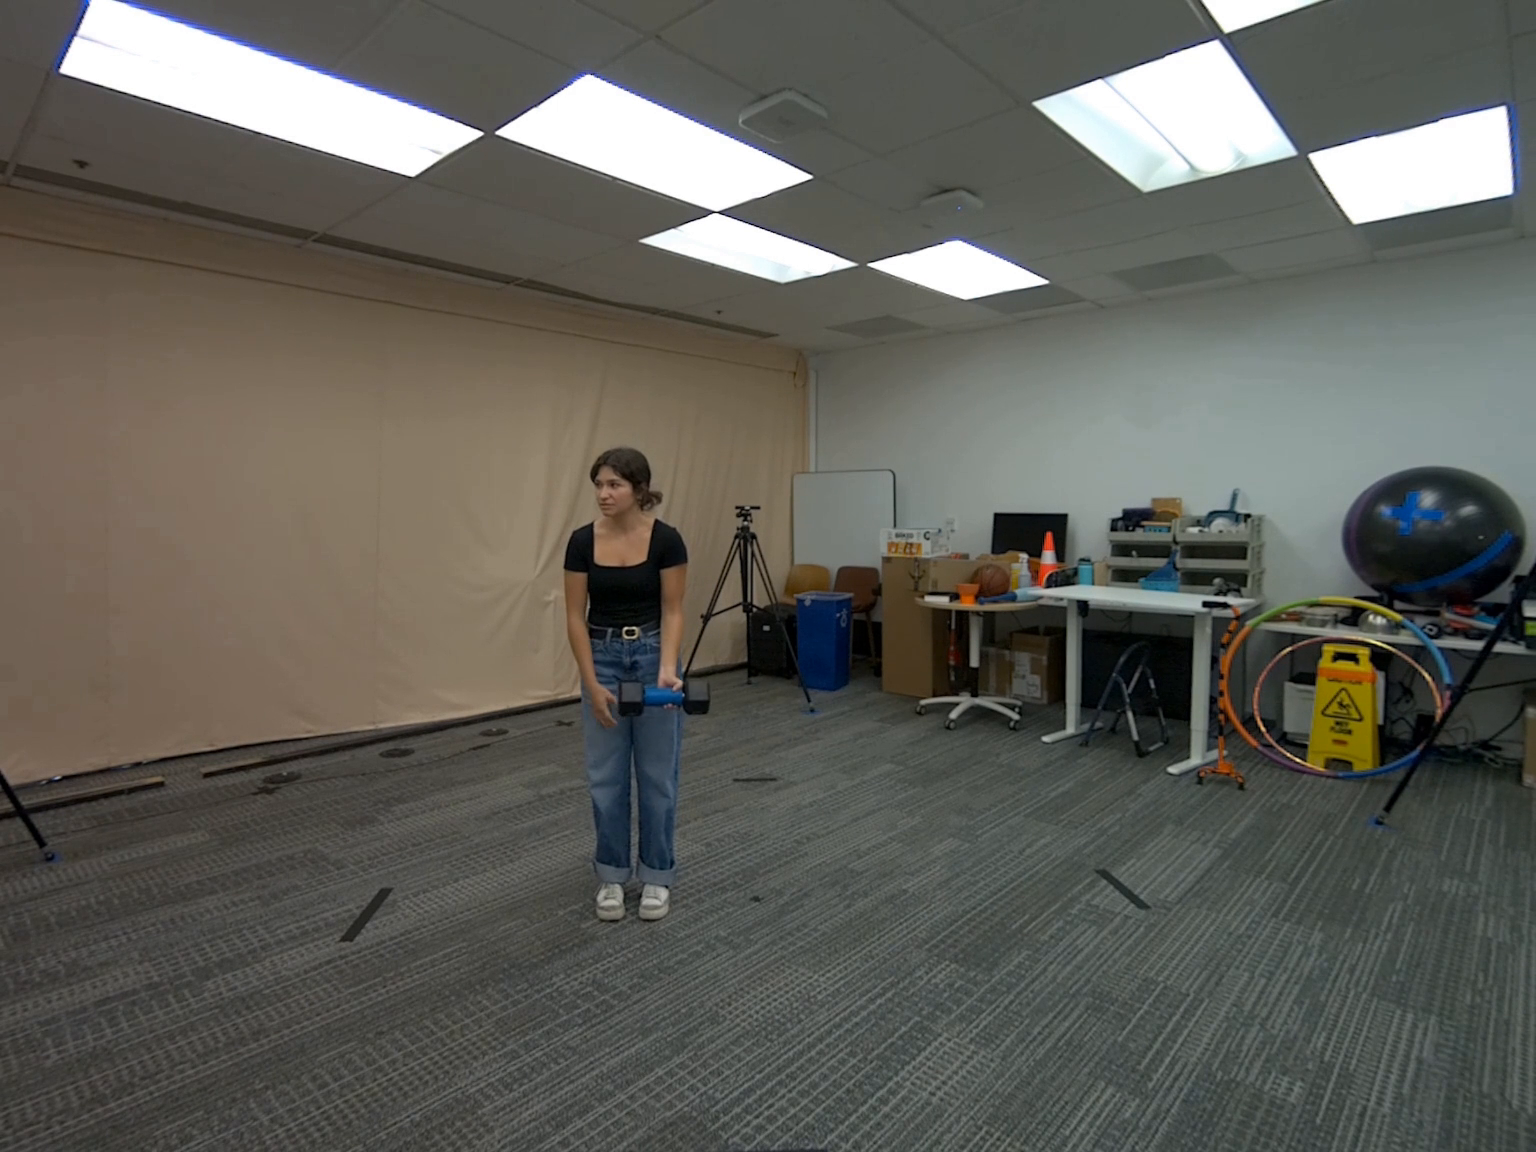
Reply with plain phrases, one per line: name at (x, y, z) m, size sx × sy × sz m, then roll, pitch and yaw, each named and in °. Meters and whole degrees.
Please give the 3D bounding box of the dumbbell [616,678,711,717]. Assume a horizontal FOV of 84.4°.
dumbbell at (-0.345, 0.379, 2.700) m, size 0.290 × 0.125 × 0.108 m, roll 0°, pitch -29°, yaw -10°
